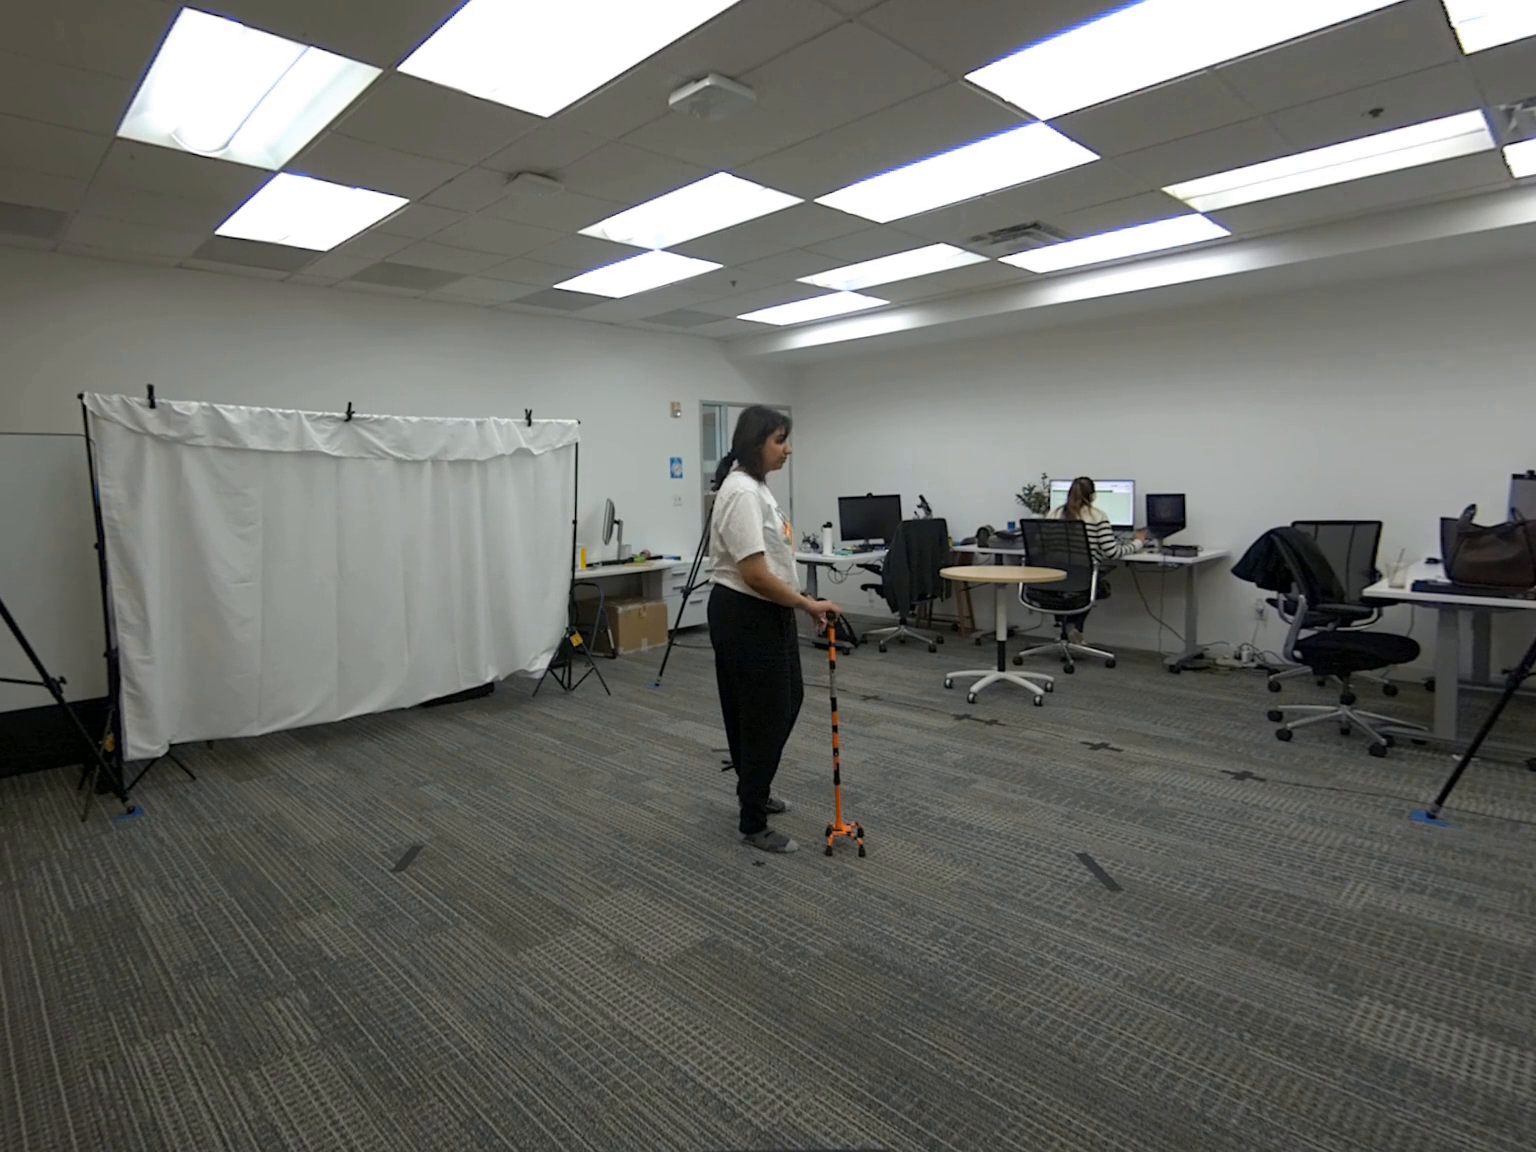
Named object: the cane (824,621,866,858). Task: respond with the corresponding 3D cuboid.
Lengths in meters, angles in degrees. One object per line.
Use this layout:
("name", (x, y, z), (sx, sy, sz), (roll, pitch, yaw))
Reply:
("cane", (0.271, 0.570, 3.222), (0.152, 0.904, 0.206), (-2, 4, 5))
